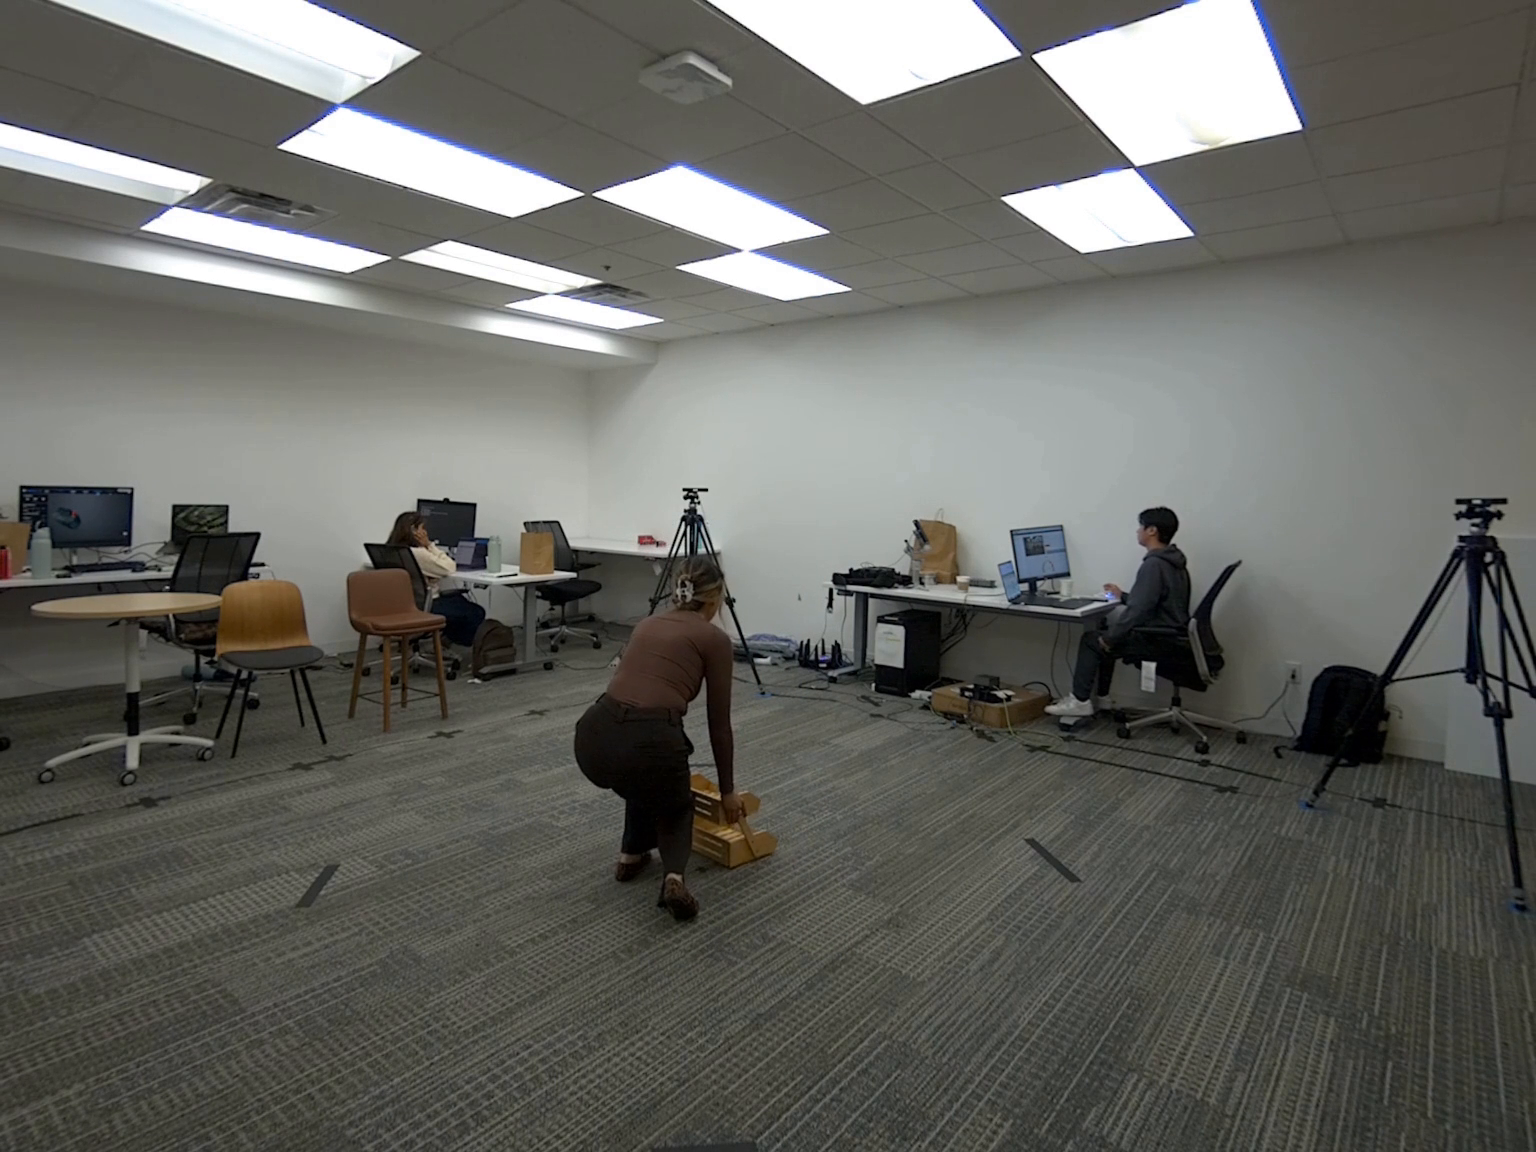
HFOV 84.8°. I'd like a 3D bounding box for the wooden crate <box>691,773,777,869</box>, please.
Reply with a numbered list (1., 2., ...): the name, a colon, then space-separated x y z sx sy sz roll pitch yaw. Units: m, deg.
1. wooden crate: -0.180 0.906 3.277 0.293 0.273 0.335 -3 5 -44
